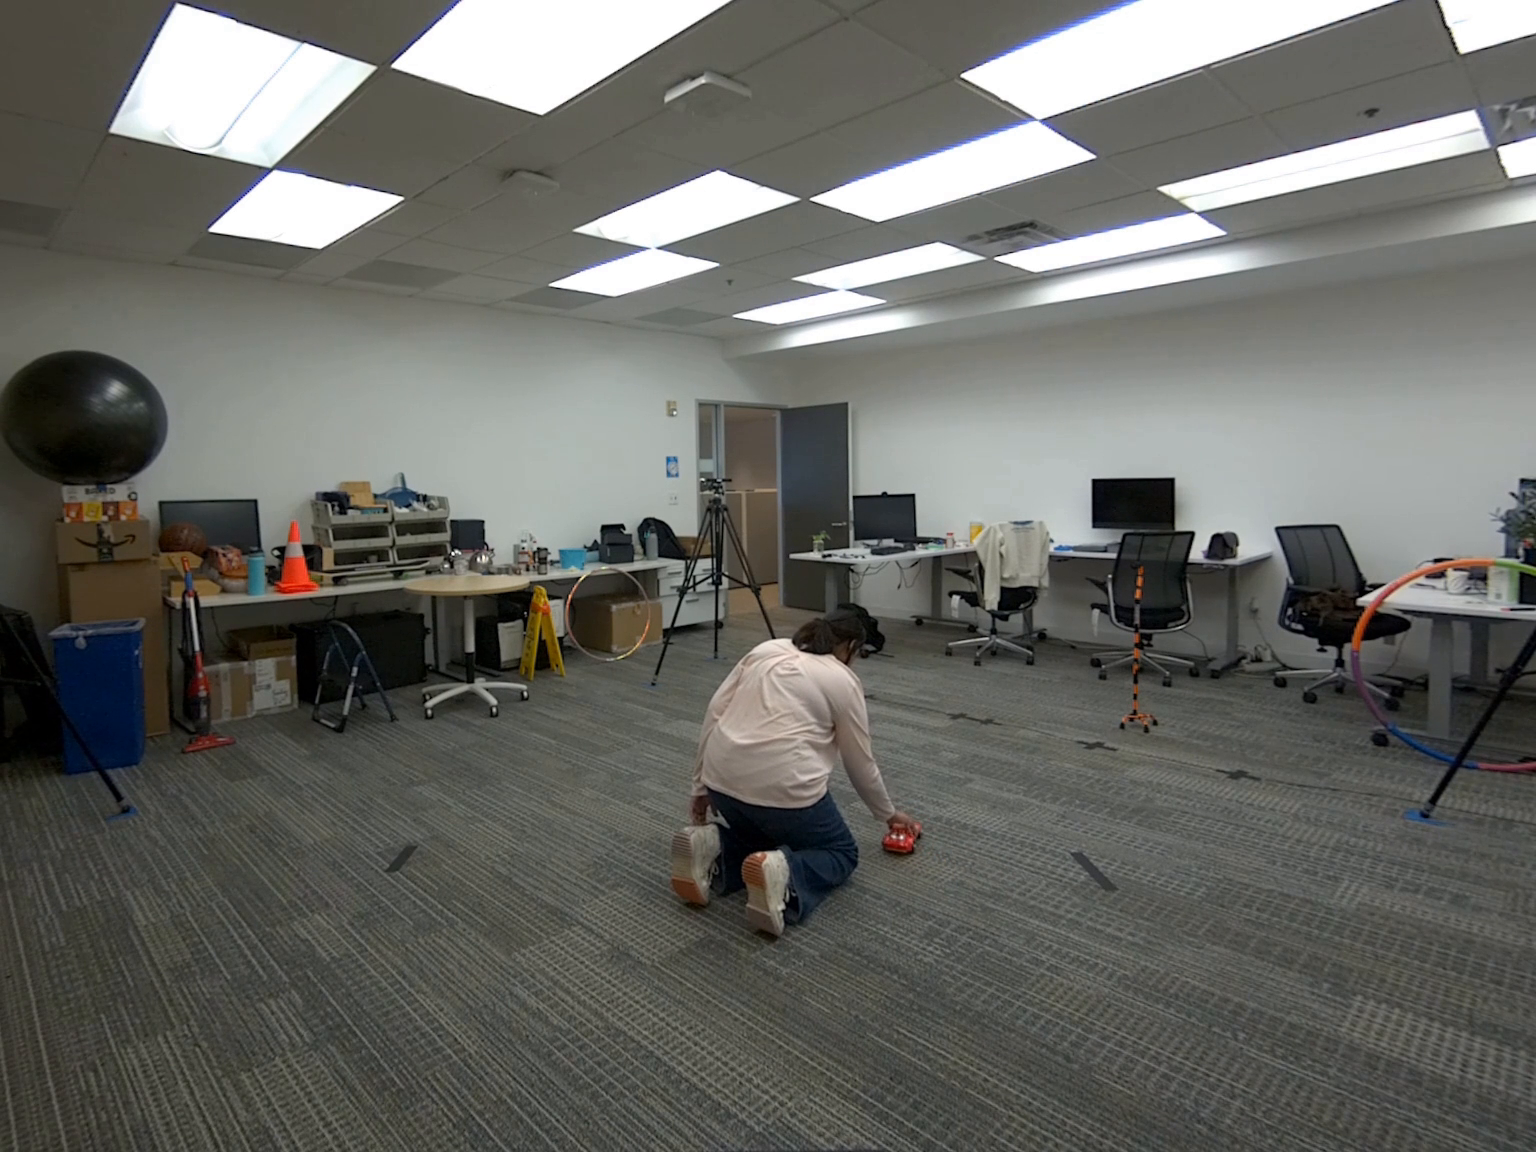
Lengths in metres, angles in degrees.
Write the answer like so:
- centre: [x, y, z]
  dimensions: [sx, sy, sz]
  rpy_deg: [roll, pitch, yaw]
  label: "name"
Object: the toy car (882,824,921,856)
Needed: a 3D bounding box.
- centre: [0.514, 0.992, 3.233]
  dimensions: [0.133, 0.083, 0.249]
  rpy_deg: [0, -4, 20]
  label: "toy car"
